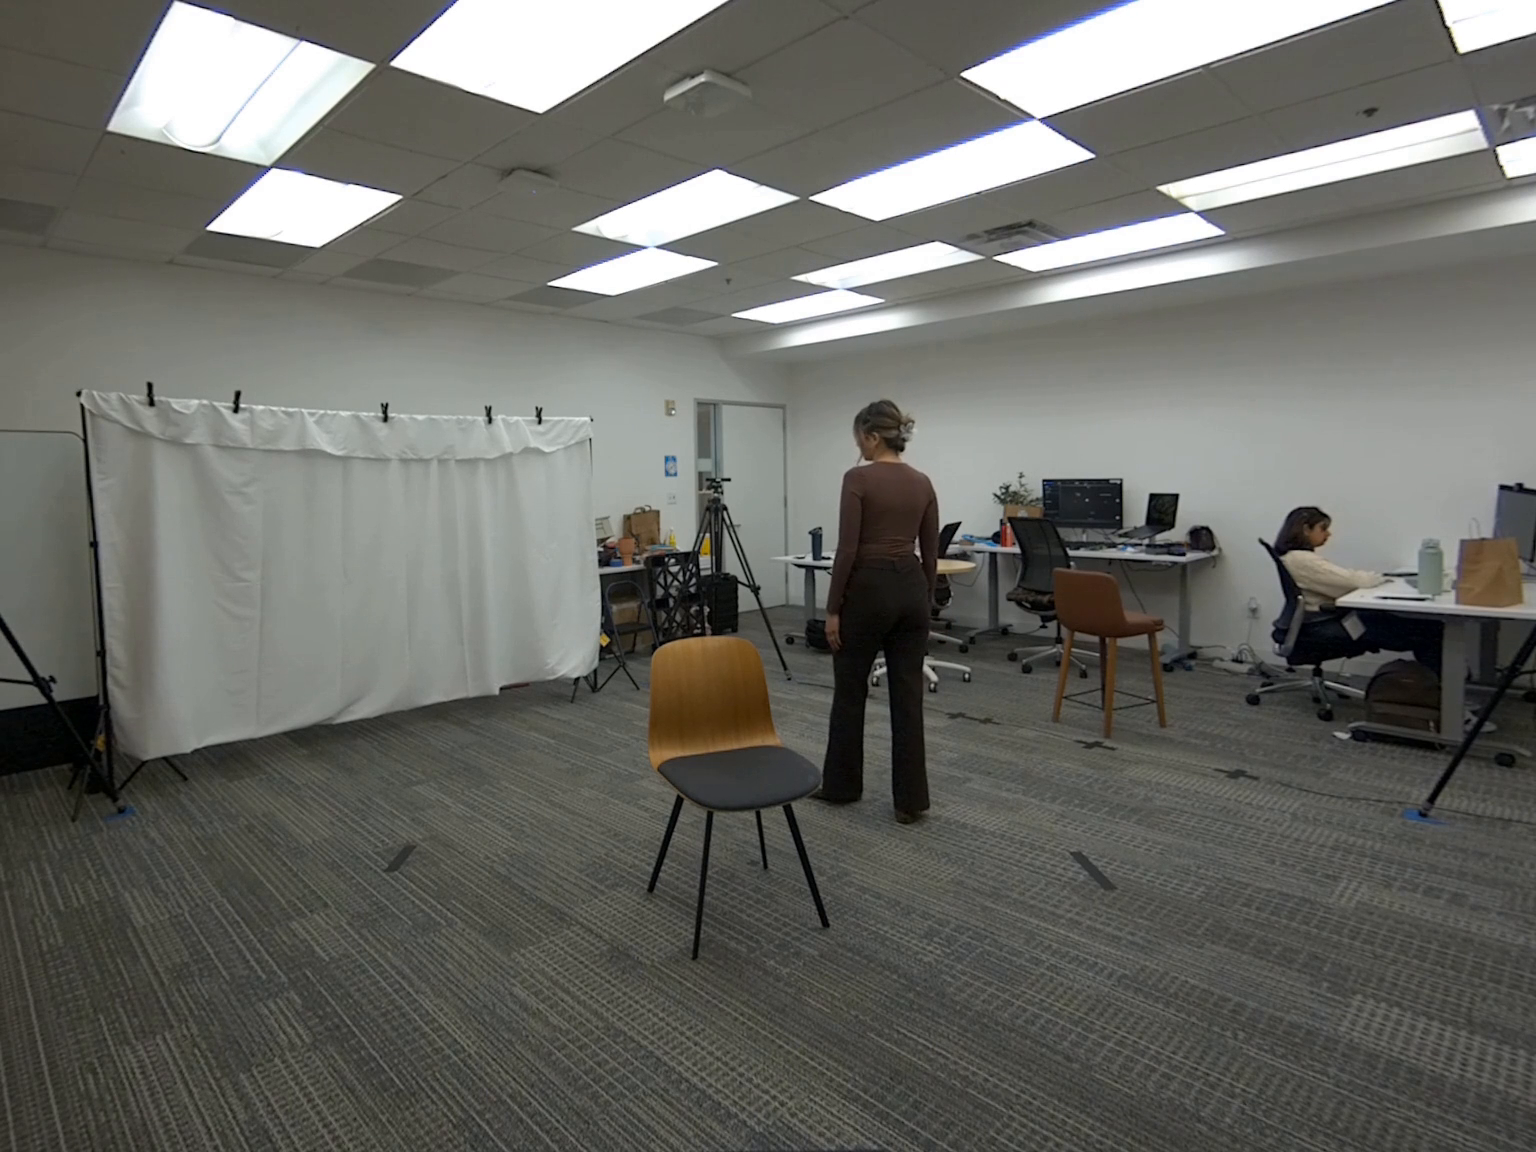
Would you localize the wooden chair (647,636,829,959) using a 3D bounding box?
[{"bbox_3d":[-0.112,0.660,2.732,0.468,0.877,0.534,-3,1,-24],"label":"wooden chair"}]
